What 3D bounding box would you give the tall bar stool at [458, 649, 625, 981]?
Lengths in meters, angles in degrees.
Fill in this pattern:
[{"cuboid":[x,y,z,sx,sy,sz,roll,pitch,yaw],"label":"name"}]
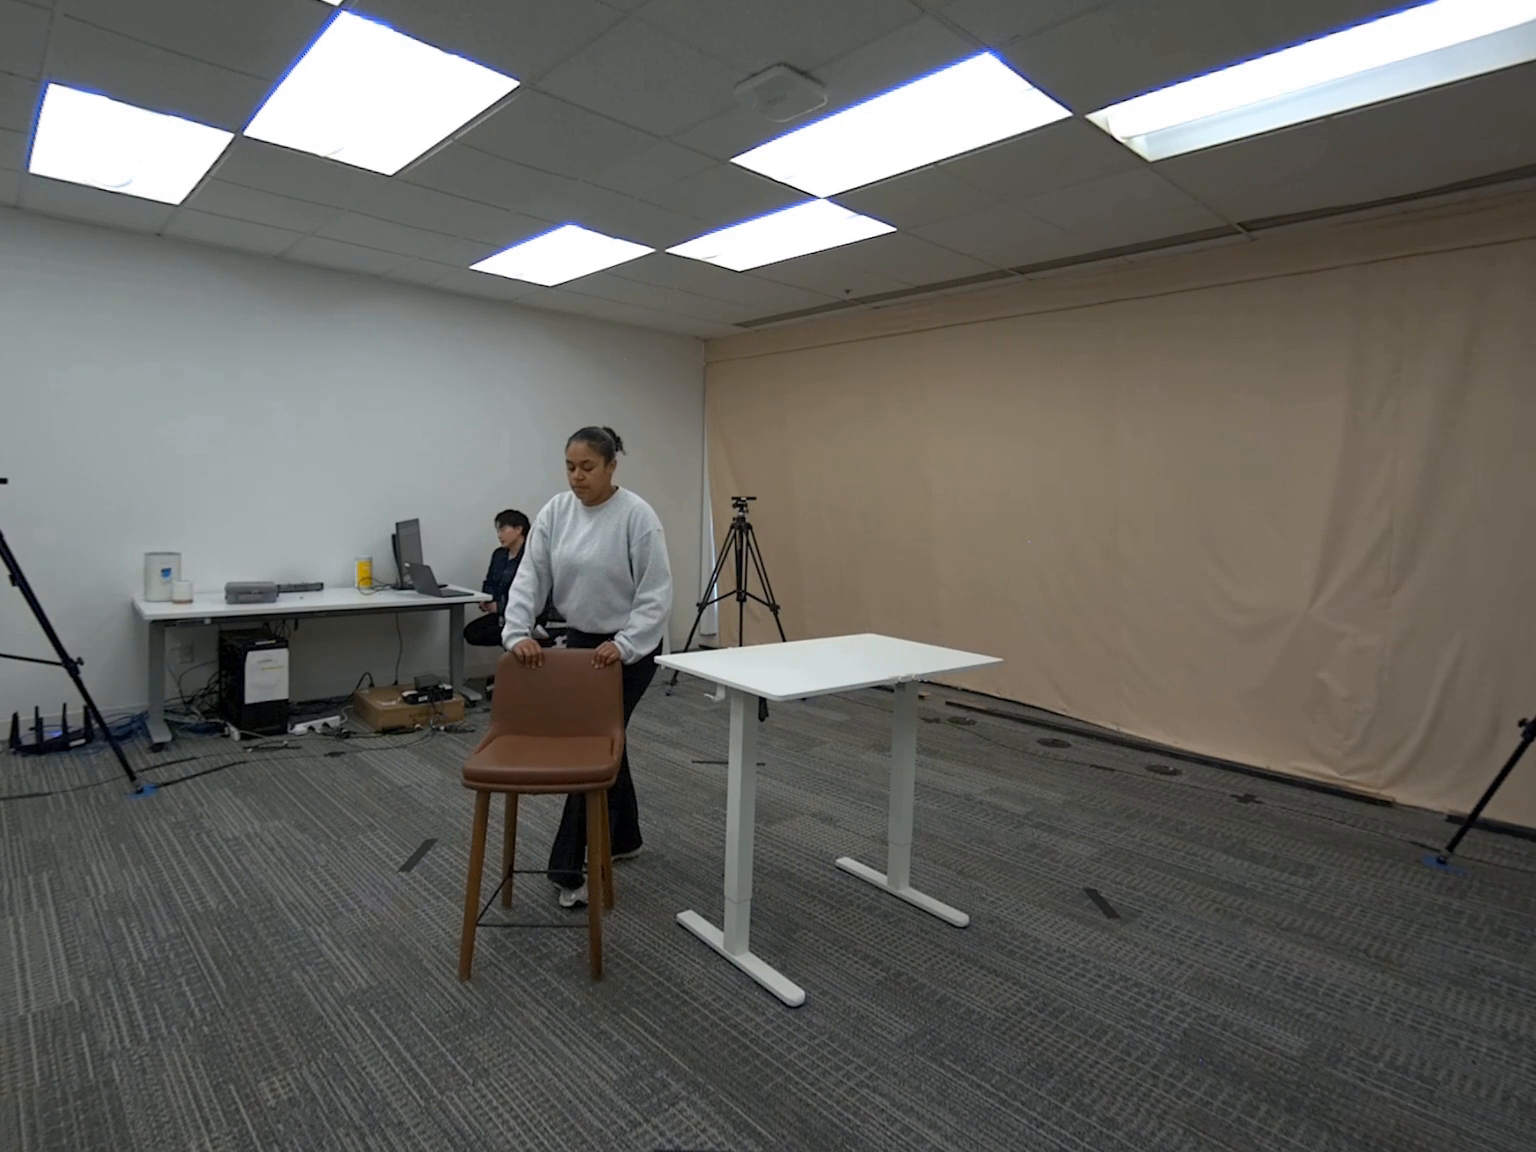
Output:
[{"cuboid":[-0.695,0.709,2.610,0.456,0.889,0.469,0,1,-3],"label":"tall bar stool"}]
